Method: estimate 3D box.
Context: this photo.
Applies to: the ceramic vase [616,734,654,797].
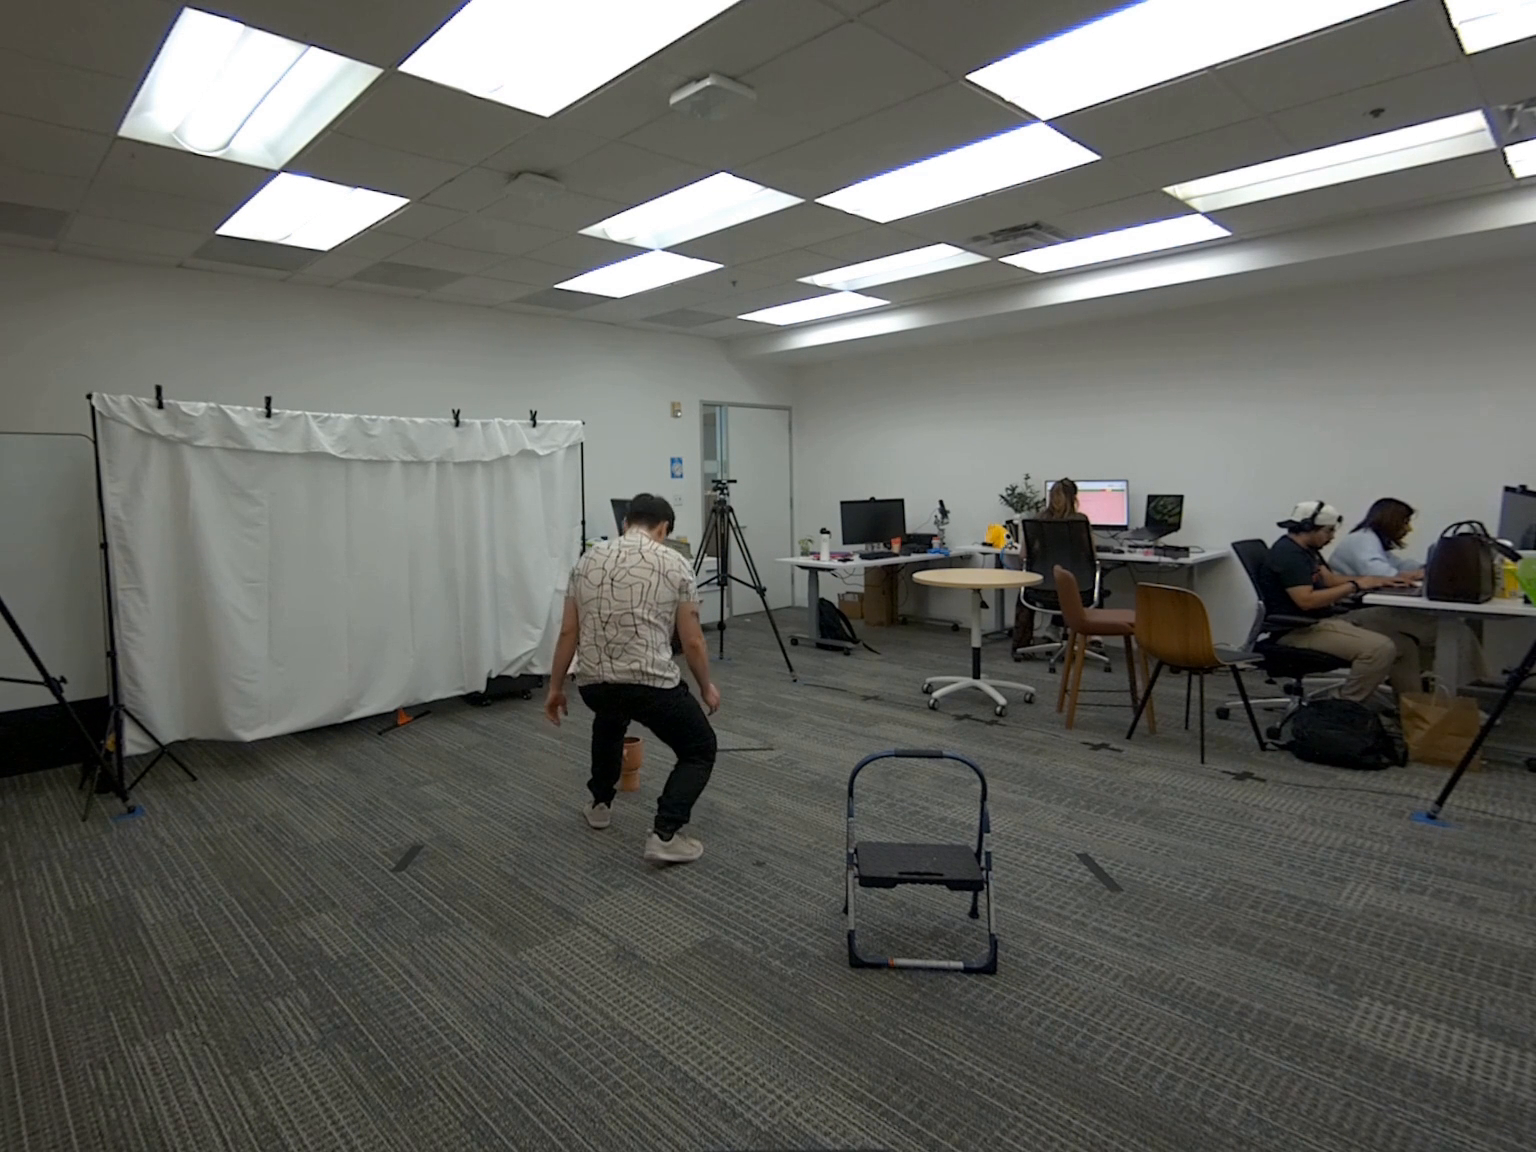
[{"bbox_3d":[-0.632,0.861,3.920,0.139,0.219,0.155,3,6,39],"label":"ceramic vase"}]
